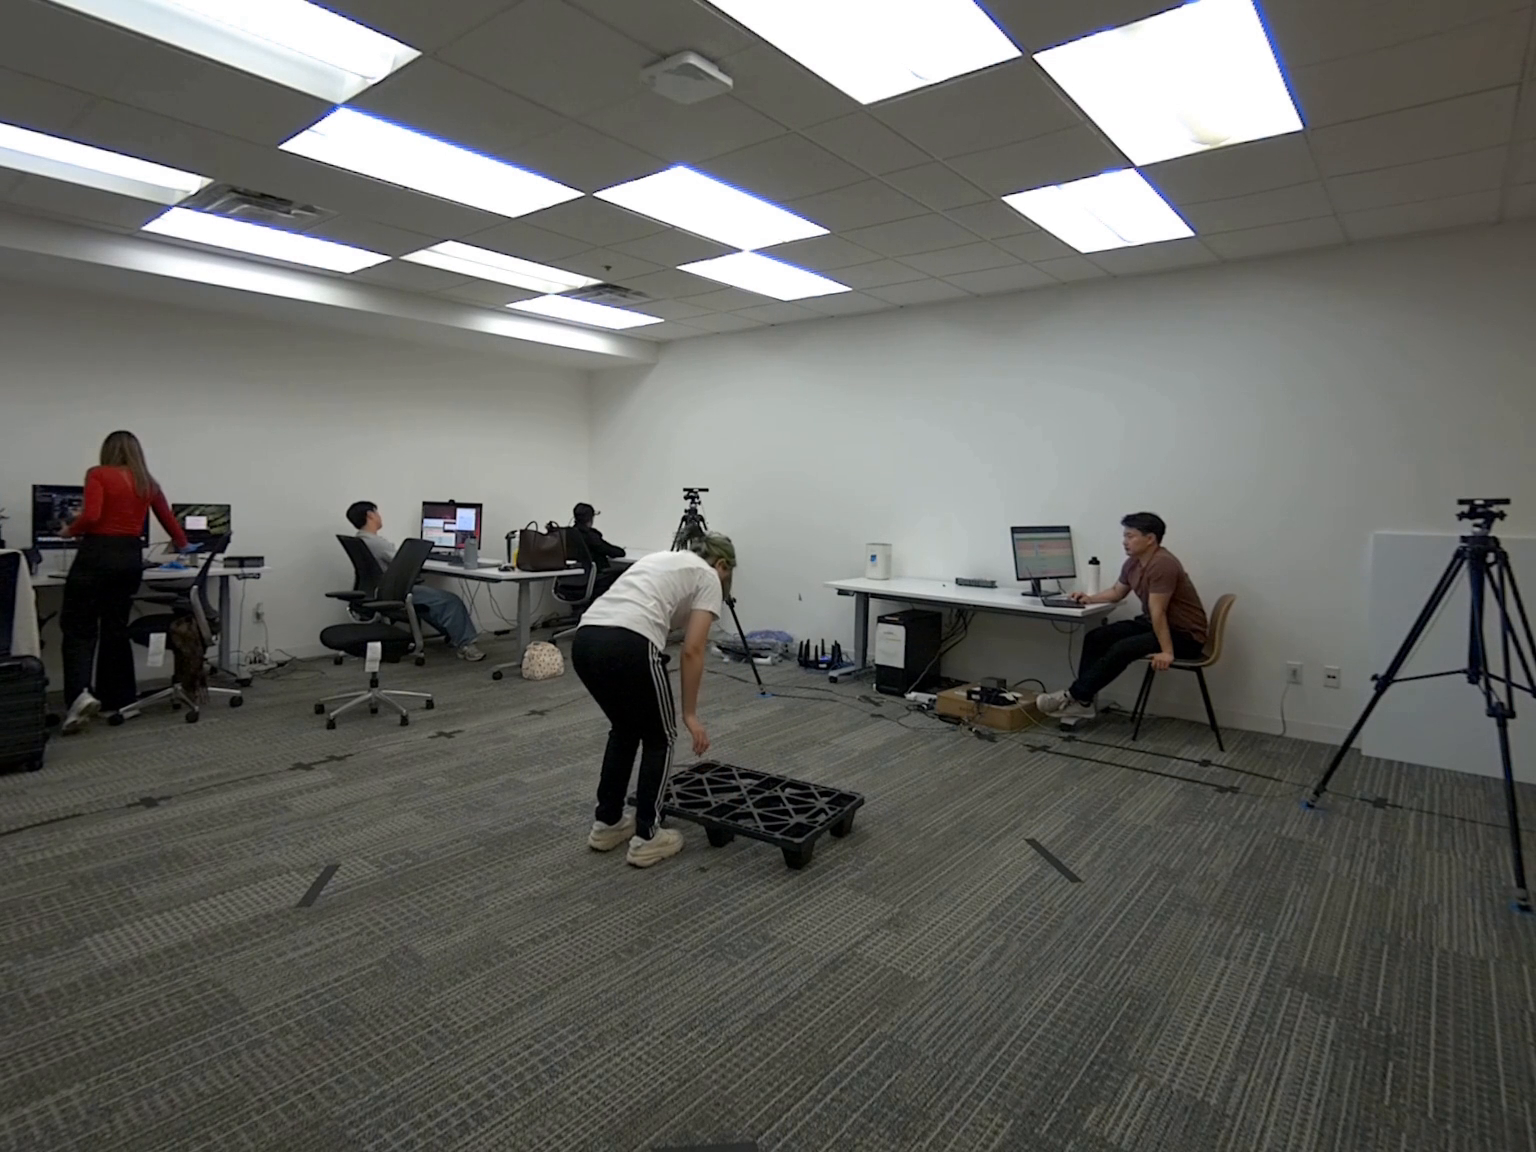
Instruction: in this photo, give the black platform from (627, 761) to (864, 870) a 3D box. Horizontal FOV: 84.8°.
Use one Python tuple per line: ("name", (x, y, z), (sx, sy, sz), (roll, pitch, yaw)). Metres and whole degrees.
("black platform", (-0.094, 0.968, 3.499), (0.830, 0.143, 0.589), (4, 7, 32))
